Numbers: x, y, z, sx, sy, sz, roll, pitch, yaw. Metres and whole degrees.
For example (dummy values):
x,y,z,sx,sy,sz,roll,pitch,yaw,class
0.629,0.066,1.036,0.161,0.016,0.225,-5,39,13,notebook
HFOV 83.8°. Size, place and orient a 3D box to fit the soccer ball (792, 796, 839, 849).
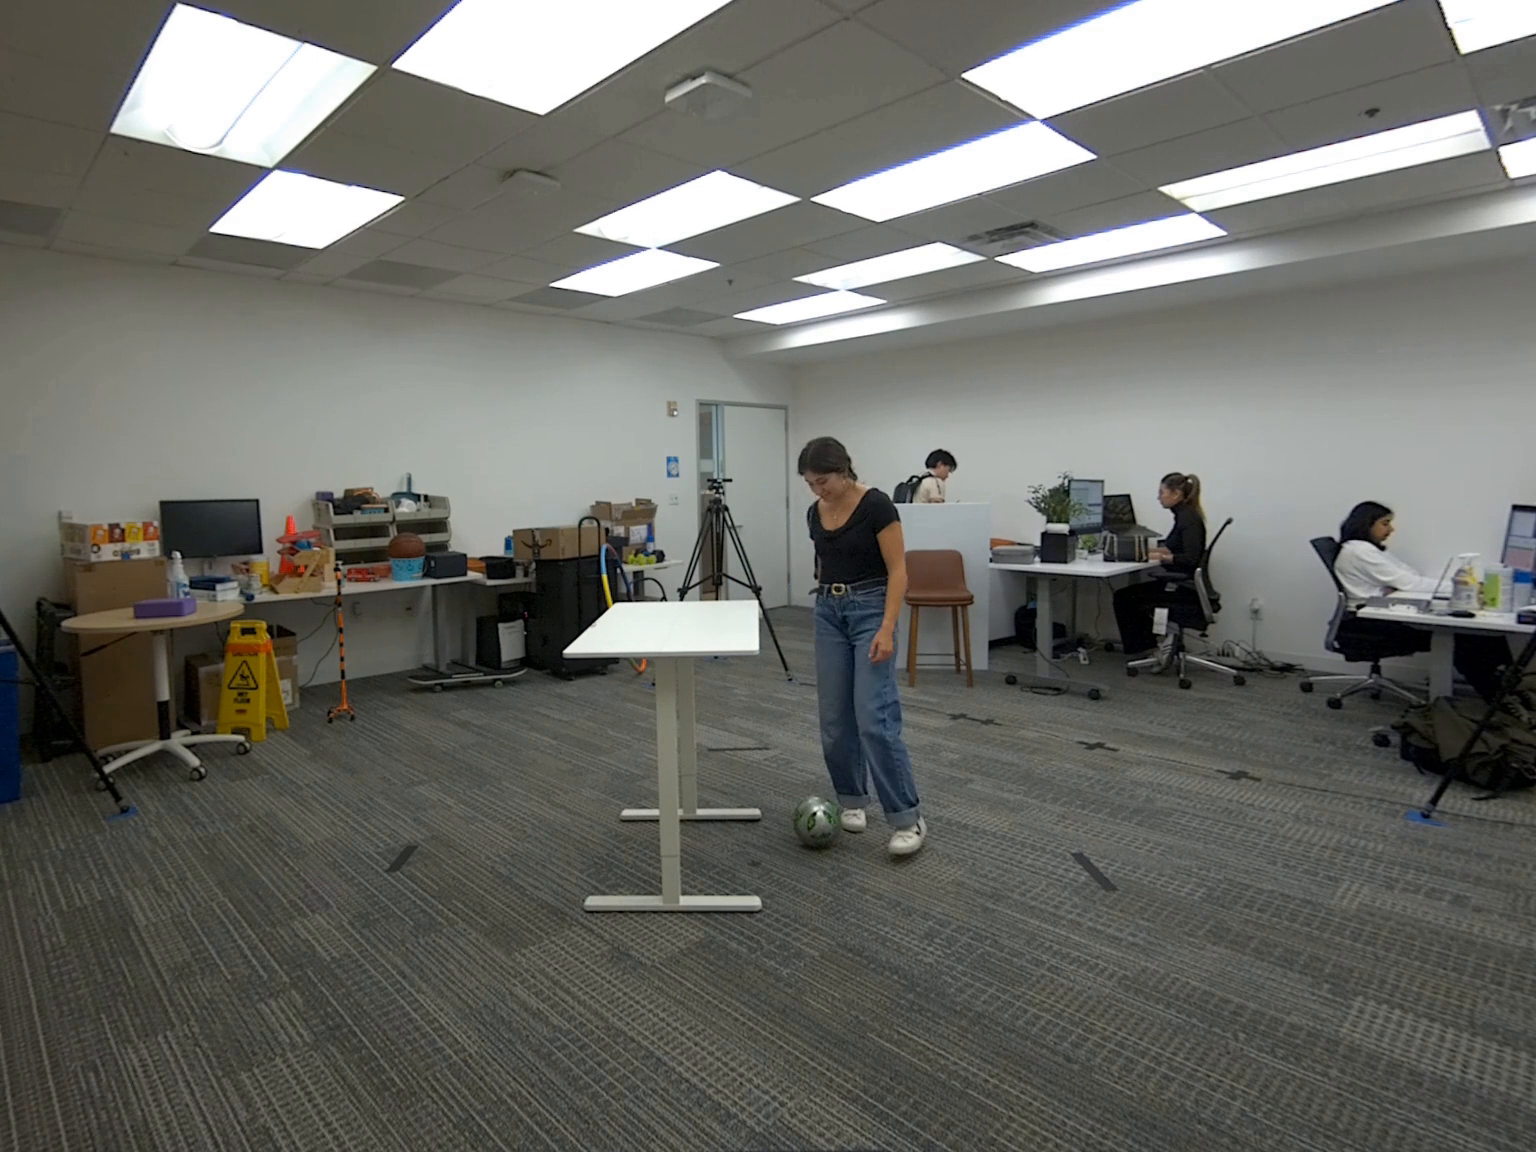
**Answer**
x,y,z,sx,sy,sz,roll,pitch,yaw,class
0.184,0.937,3.259,0.187,0.187,0.188,-1,5,-2,soccer ball
